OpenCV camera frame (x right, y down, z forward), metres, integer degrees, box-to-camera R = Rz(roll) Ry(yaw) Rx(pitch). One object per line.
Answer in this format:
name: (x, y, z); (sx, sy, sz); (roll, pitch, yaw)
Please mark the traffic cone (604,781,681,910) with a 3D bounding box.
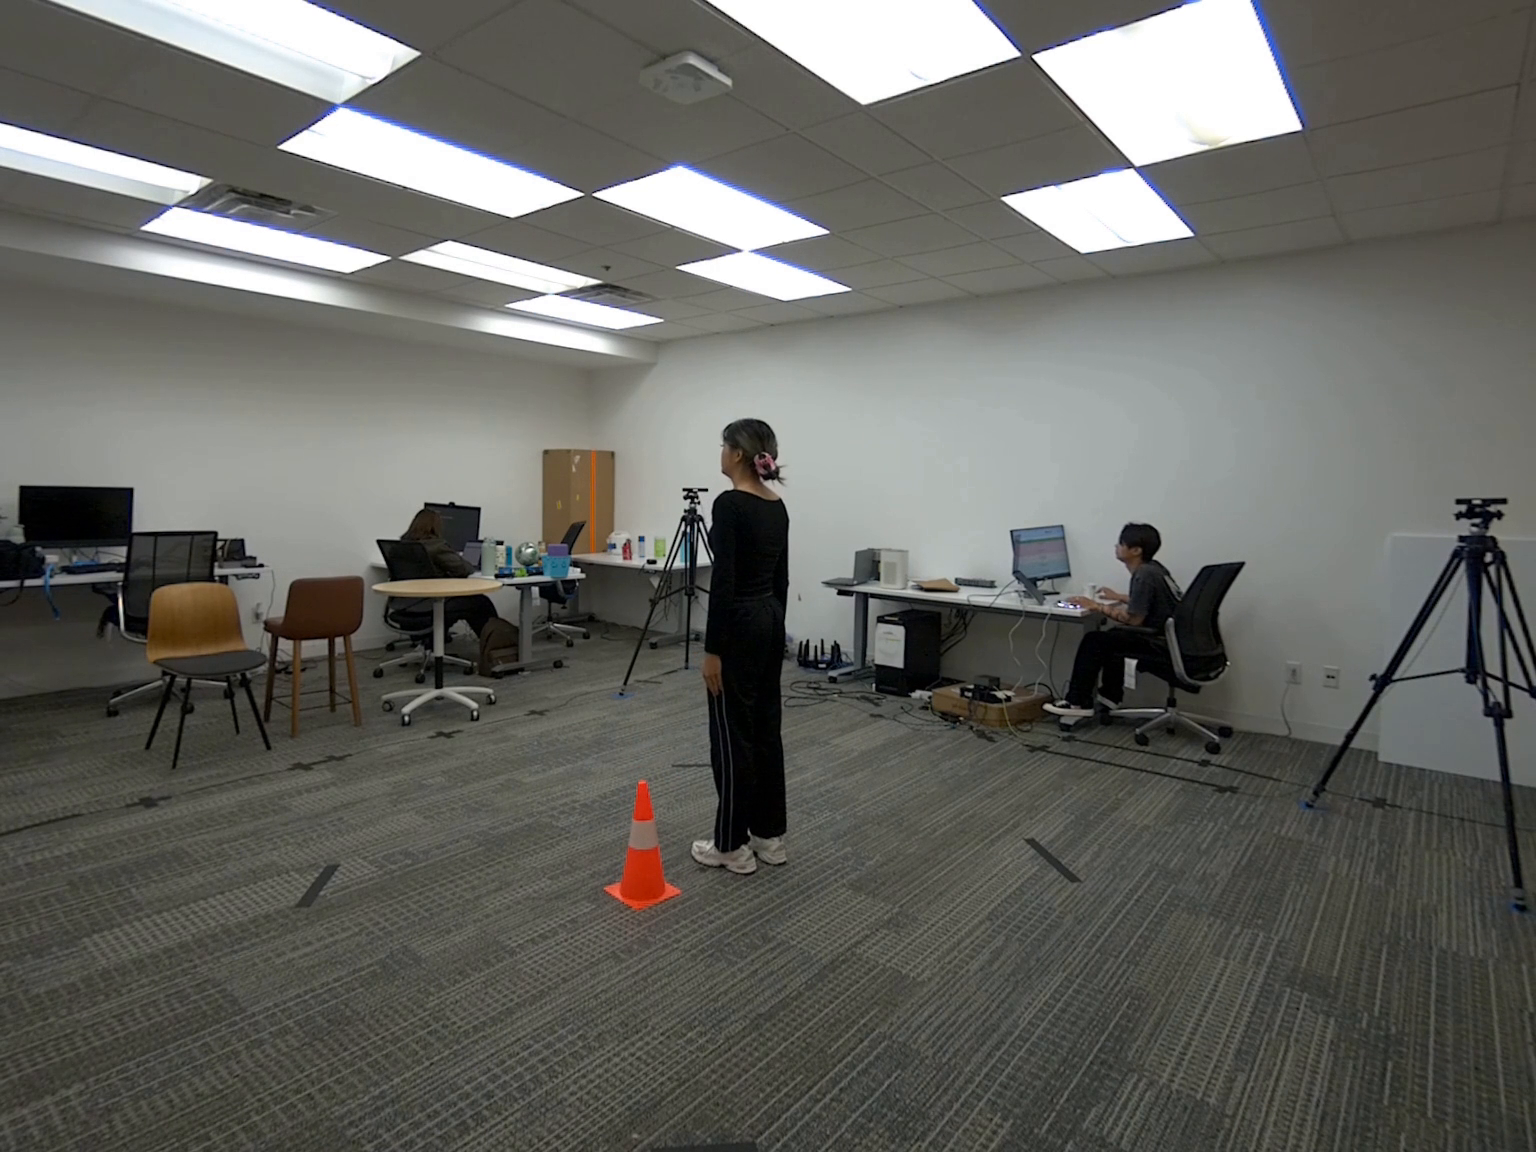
traffic cone: (-0.441, 0.899, 2.926); (0.197, 0.383, 0.212); (-1, 3, -40)
